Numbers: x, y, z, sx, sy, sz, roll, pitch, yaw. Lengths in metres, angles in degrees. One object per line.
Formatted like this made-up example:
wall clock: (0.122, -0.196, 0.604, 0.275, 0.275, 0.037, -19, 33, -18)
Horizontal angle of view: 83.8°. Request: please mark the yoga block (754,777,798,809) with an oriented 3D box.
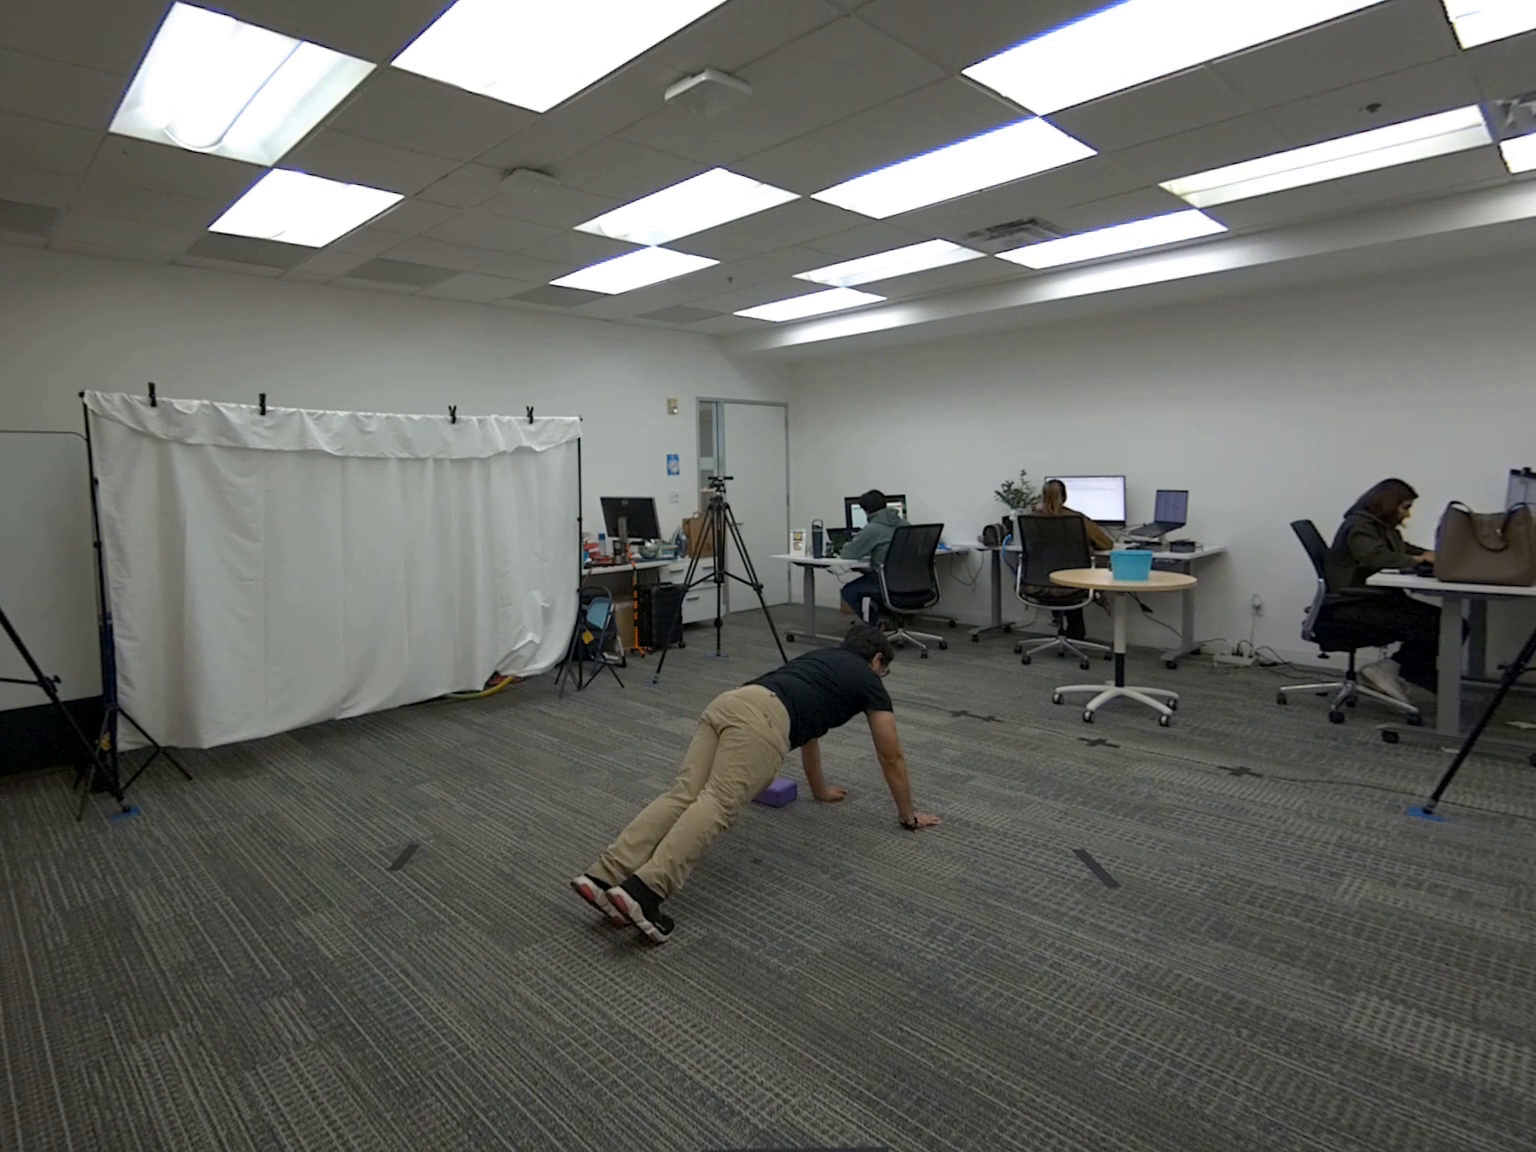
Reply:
yoga block: (-0.003, 0.924, 3.715, 0.236, 0.076, 0.145, 4, 6, 38)
